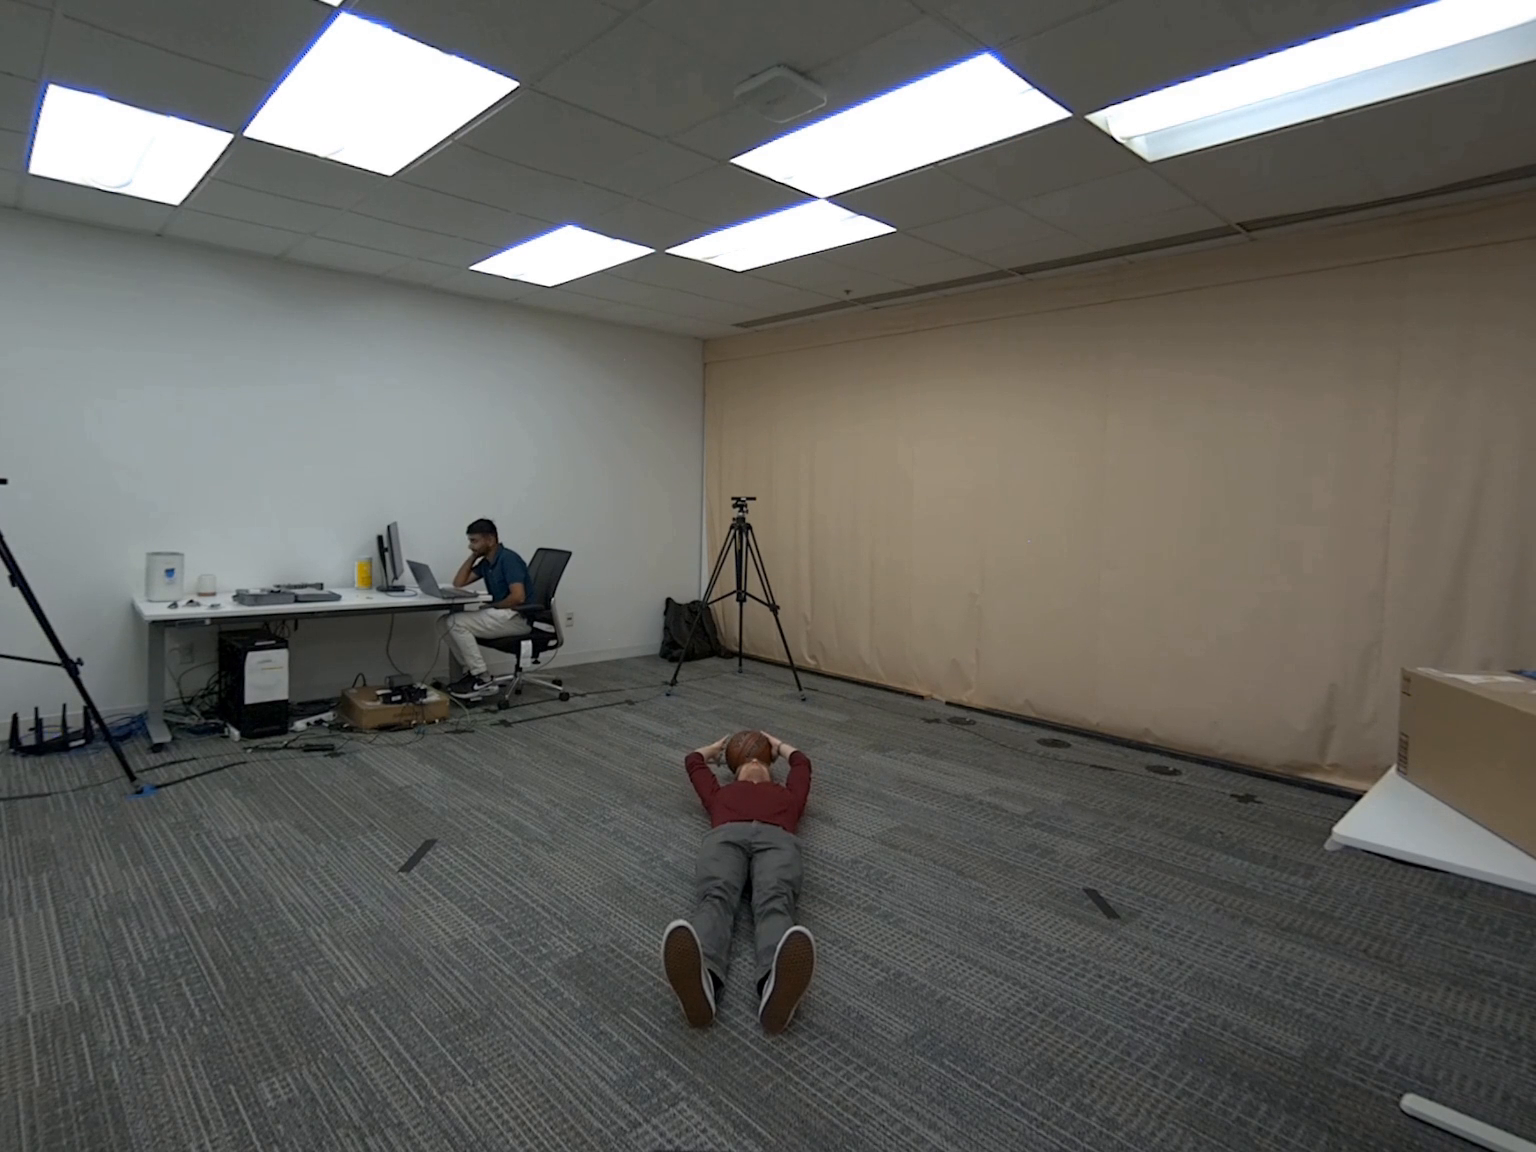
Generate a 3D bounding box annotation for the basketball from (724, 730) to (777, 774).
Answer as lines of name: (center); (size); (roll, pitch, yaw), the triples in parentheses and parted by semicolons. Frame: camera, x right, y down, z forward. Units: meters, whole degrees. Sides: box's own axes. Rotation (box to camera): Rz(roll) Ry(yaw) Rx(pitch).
basketball: (-0.106, 0.892, 4.212); (0.236, 0.235, 0.237); (1, 4, -1)
